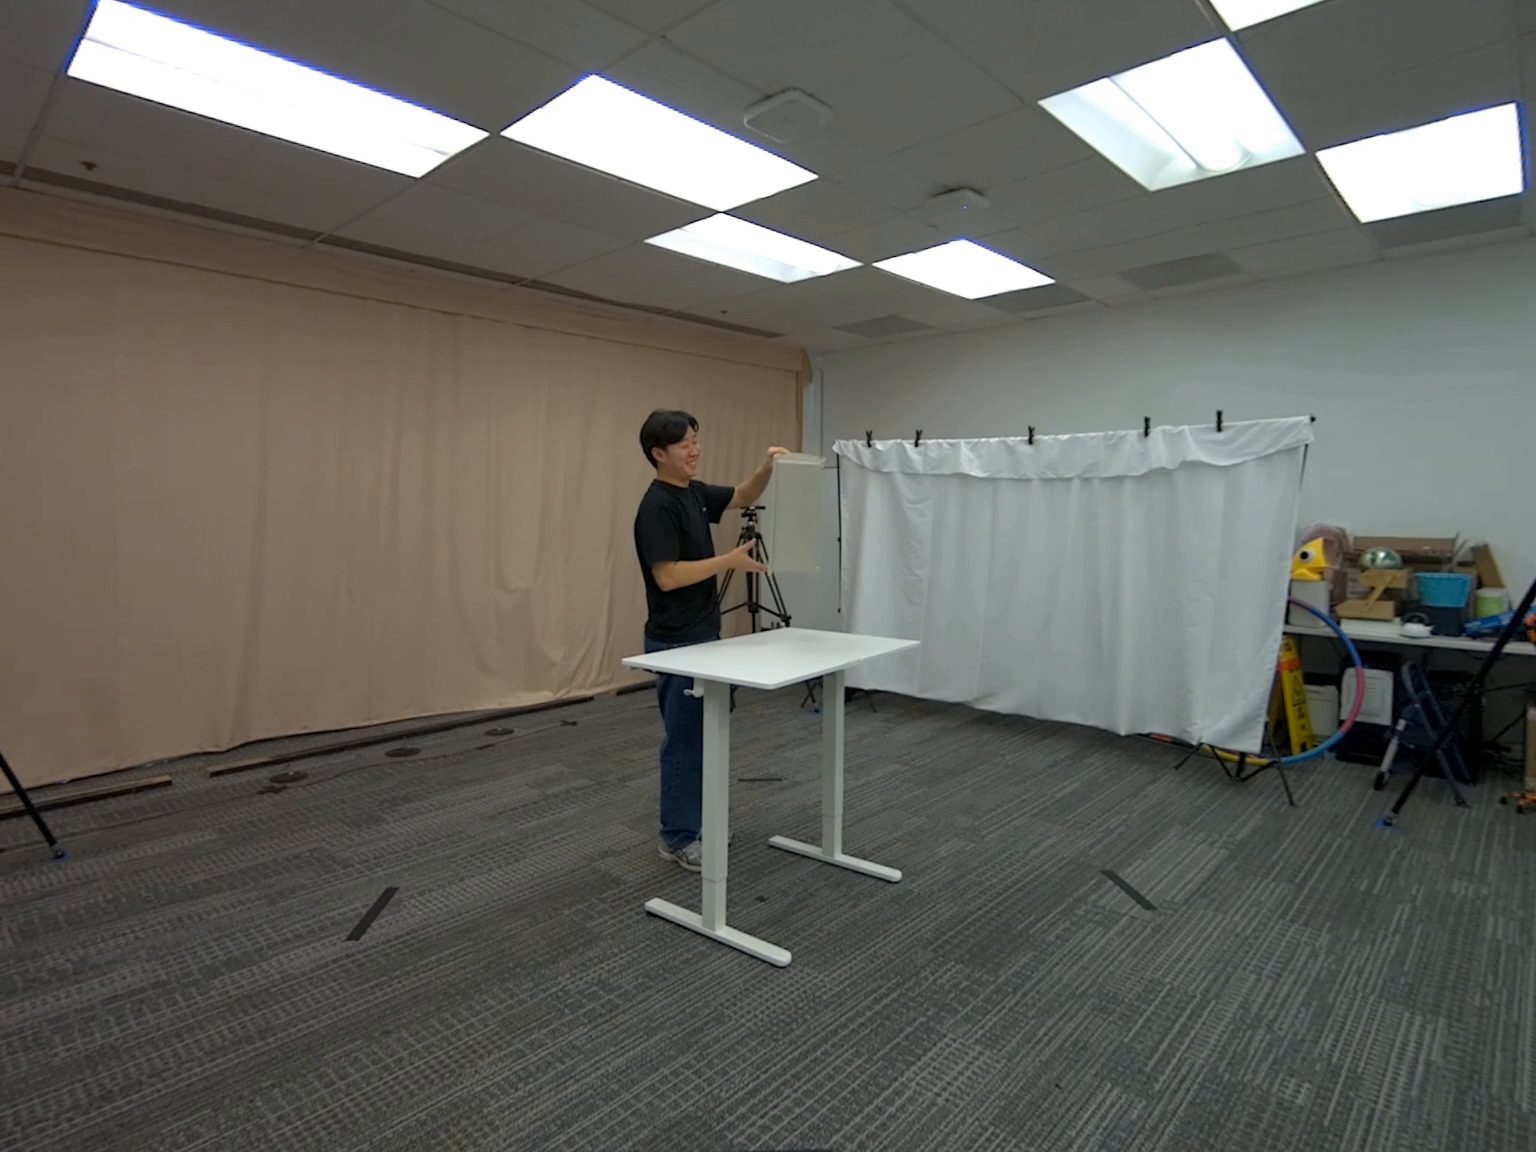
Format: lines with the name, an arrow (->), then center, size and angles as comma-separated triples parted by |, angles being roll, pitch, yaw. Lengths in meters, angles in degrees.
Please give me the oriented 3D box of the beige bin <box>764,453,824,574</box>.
beige bin -> 0.089, -0.238, 3.120 | 0.189, 0.420, 0.379 | 4, 10, -1
